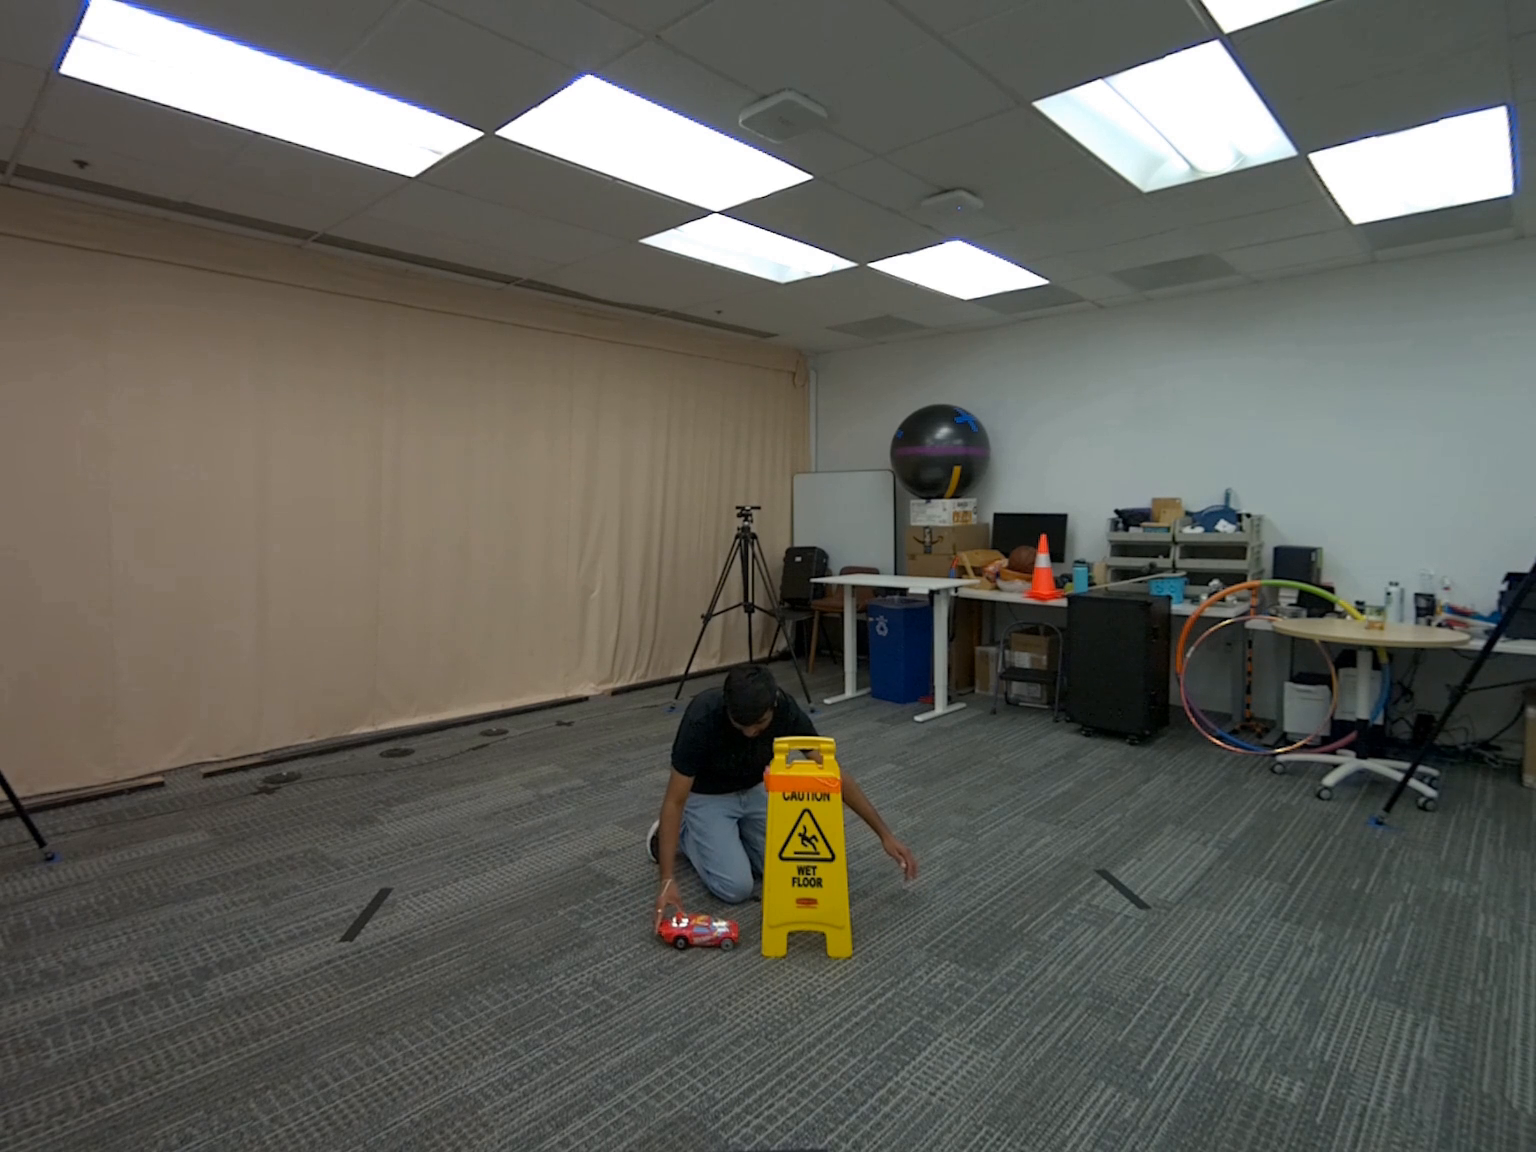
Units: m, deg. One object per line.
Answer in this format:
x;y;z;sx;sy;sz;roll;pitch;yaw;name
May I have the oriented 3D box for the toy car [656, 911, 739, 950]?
-0.230;1.129;2.697;0.255;0.083;0.130;11;6;1;toy car
